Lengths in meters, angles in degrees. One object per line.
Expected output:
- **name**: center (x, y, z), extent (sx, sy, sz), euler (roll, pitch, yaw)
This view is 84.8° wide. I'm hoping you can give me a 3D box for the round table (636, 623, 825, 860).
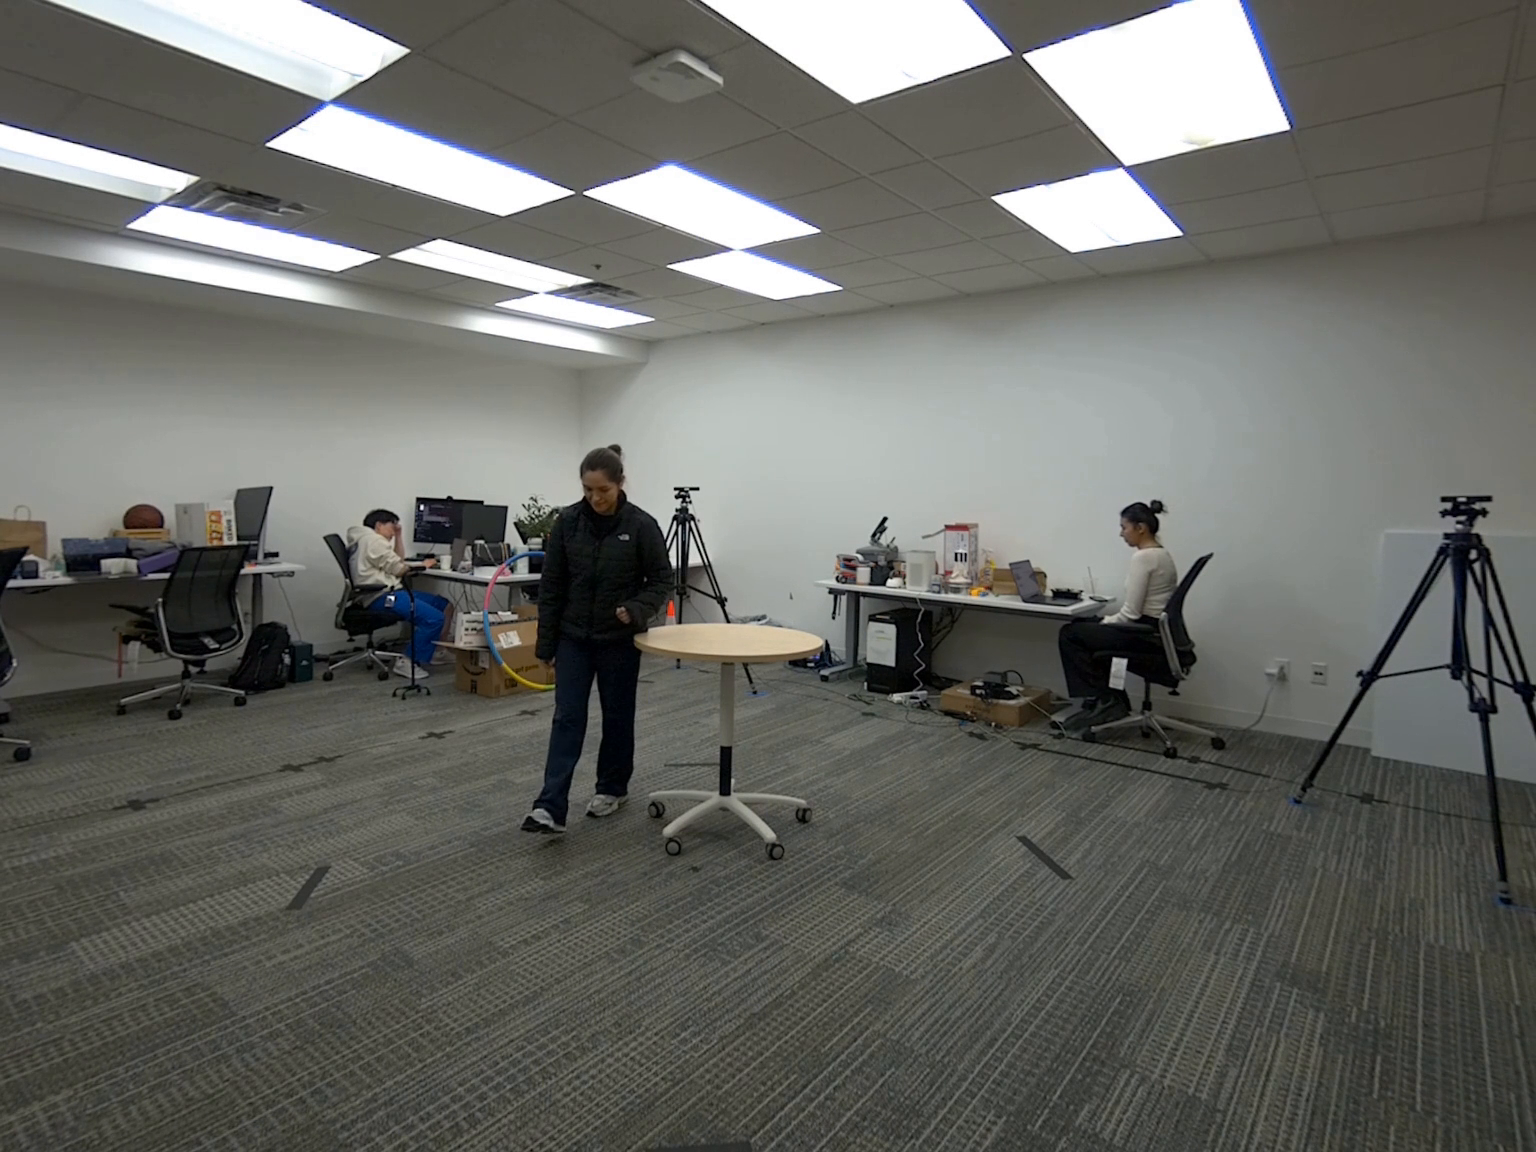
- **round table**: center (-0.165, 0.636, 3.470), extent (0.784, 0.784, 0.788), euler (1, 4, -2)
